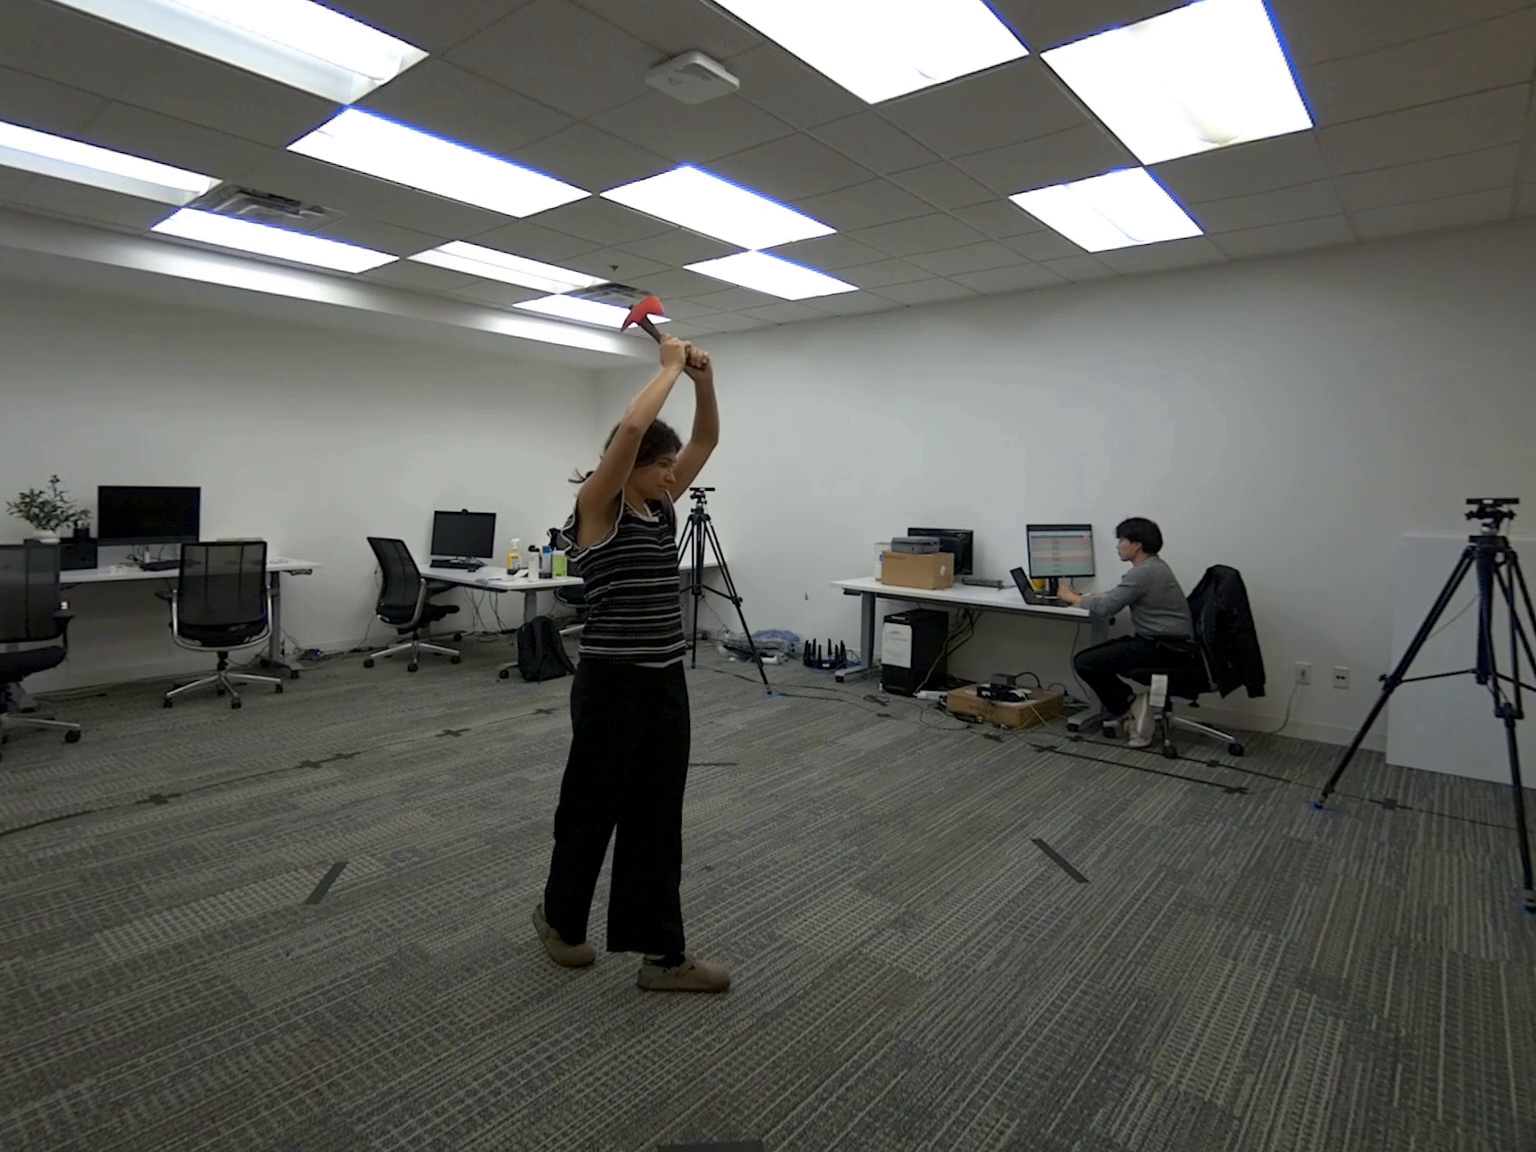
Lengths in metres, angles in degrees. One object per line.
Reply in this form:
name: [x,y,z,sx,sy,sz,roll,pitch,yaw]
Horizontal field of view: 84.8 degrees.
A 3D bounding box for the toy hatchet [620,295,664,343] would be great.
toy hatchet: [-0.277,-0.676,2.332,0.272,0.131,0.029,27,0,5]
